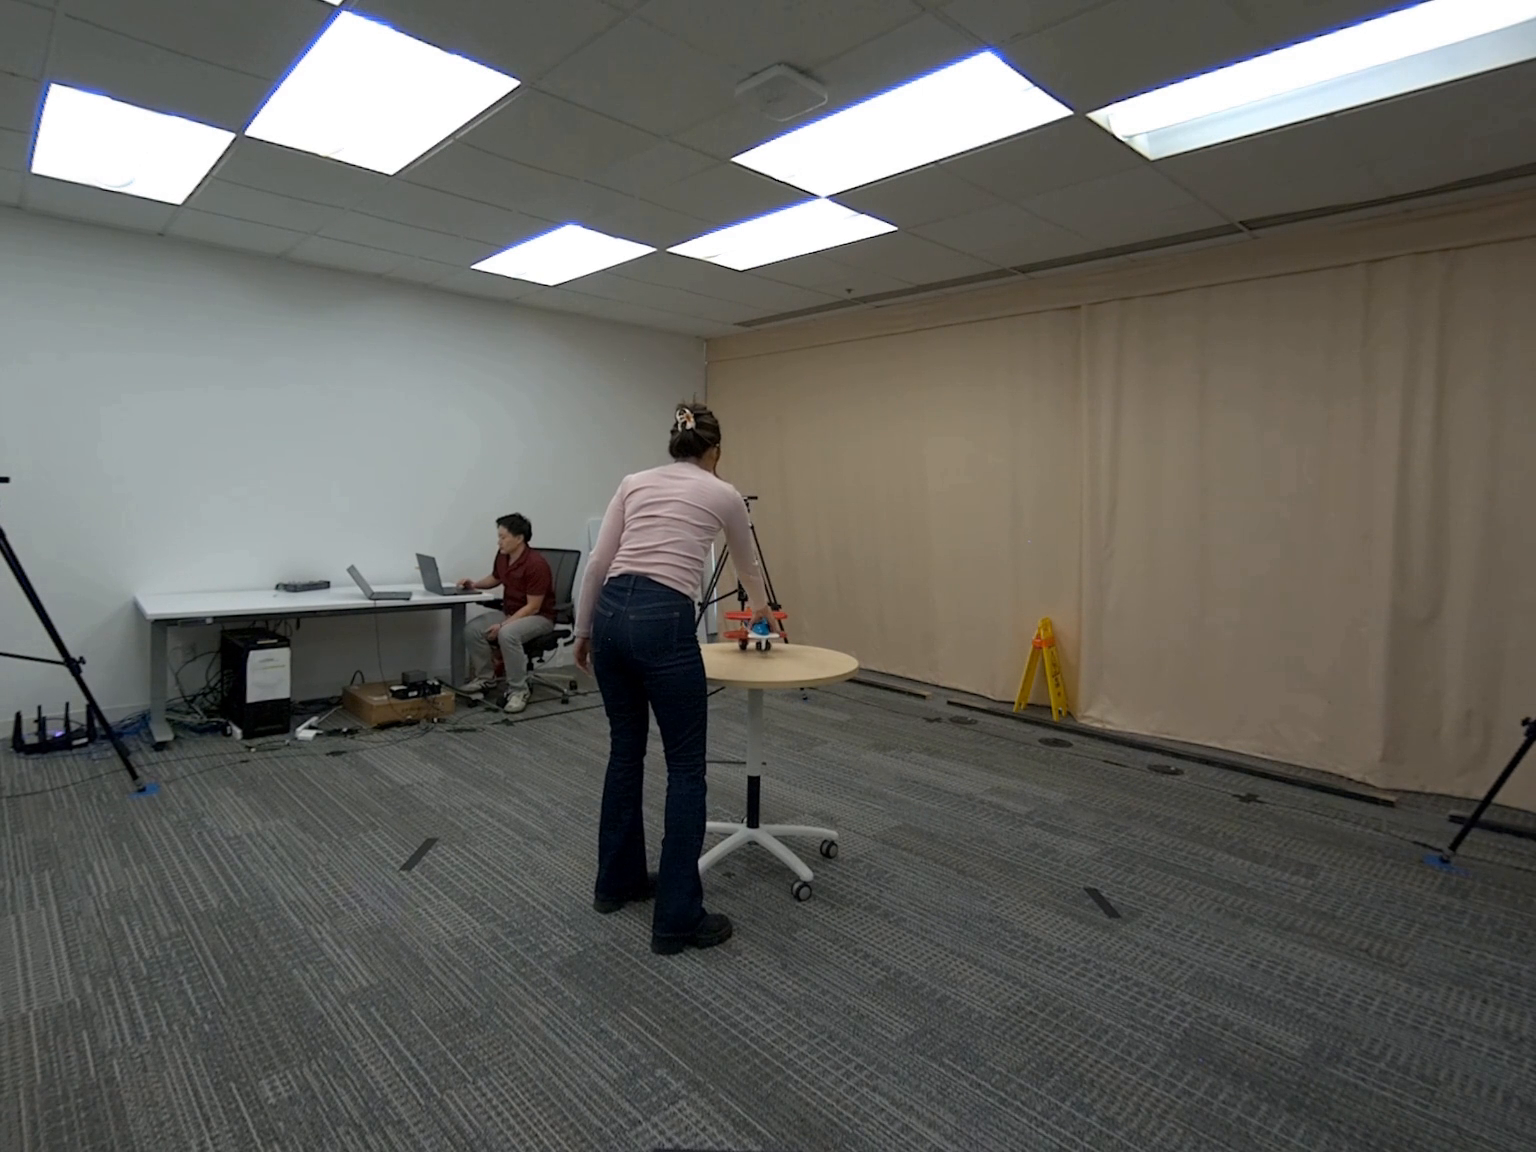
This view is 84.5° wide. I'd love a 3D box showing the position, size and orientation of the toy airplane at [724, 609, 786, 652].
[{"bbox_3d":[-0.029,0.214,3.322,0.245,0.157,0.264,2,-6,-38],"label":"toy airplane"}]
